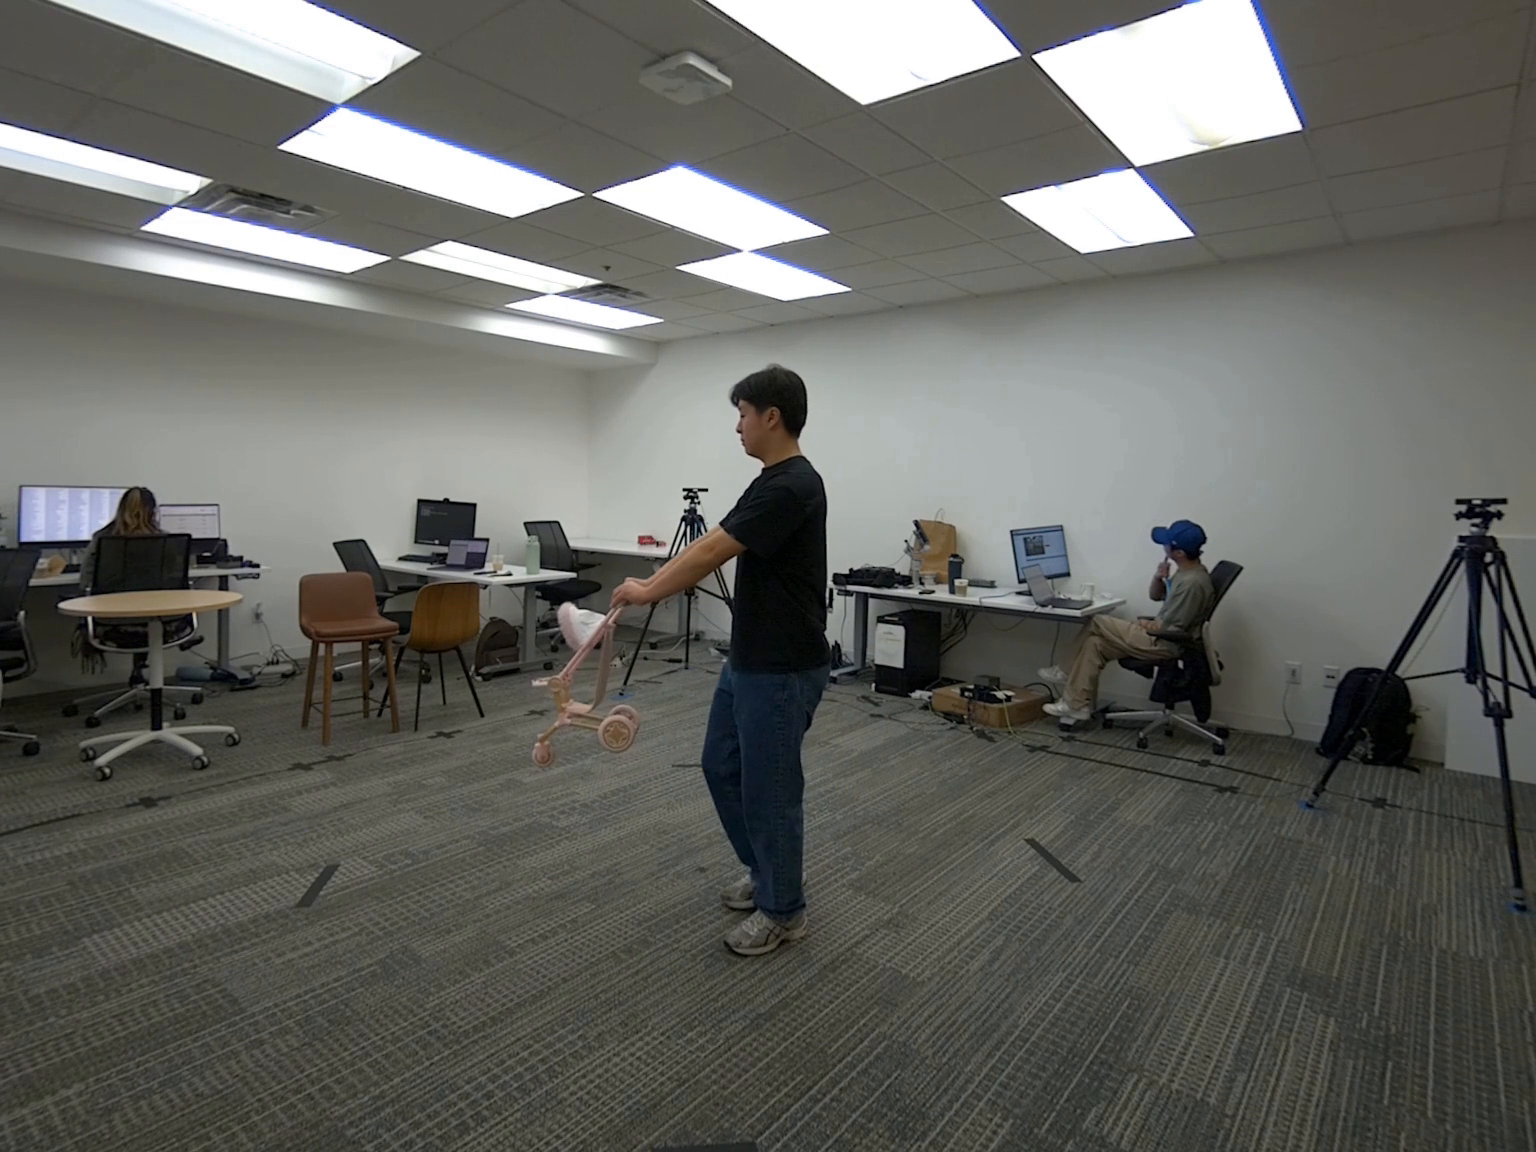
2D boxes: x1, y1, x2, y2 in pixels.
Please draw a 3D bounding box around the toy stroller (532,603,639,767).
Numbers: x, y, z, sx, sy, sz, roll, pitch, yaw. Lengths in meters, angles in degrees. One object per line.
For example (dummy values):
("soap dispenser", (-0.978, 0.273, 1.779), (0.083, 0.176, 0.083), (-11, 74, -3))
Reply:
("toy stroller", (-0.584, 0.326, 2.654), (0.342, 0.537, 0.280), (-3, -3, 1))
